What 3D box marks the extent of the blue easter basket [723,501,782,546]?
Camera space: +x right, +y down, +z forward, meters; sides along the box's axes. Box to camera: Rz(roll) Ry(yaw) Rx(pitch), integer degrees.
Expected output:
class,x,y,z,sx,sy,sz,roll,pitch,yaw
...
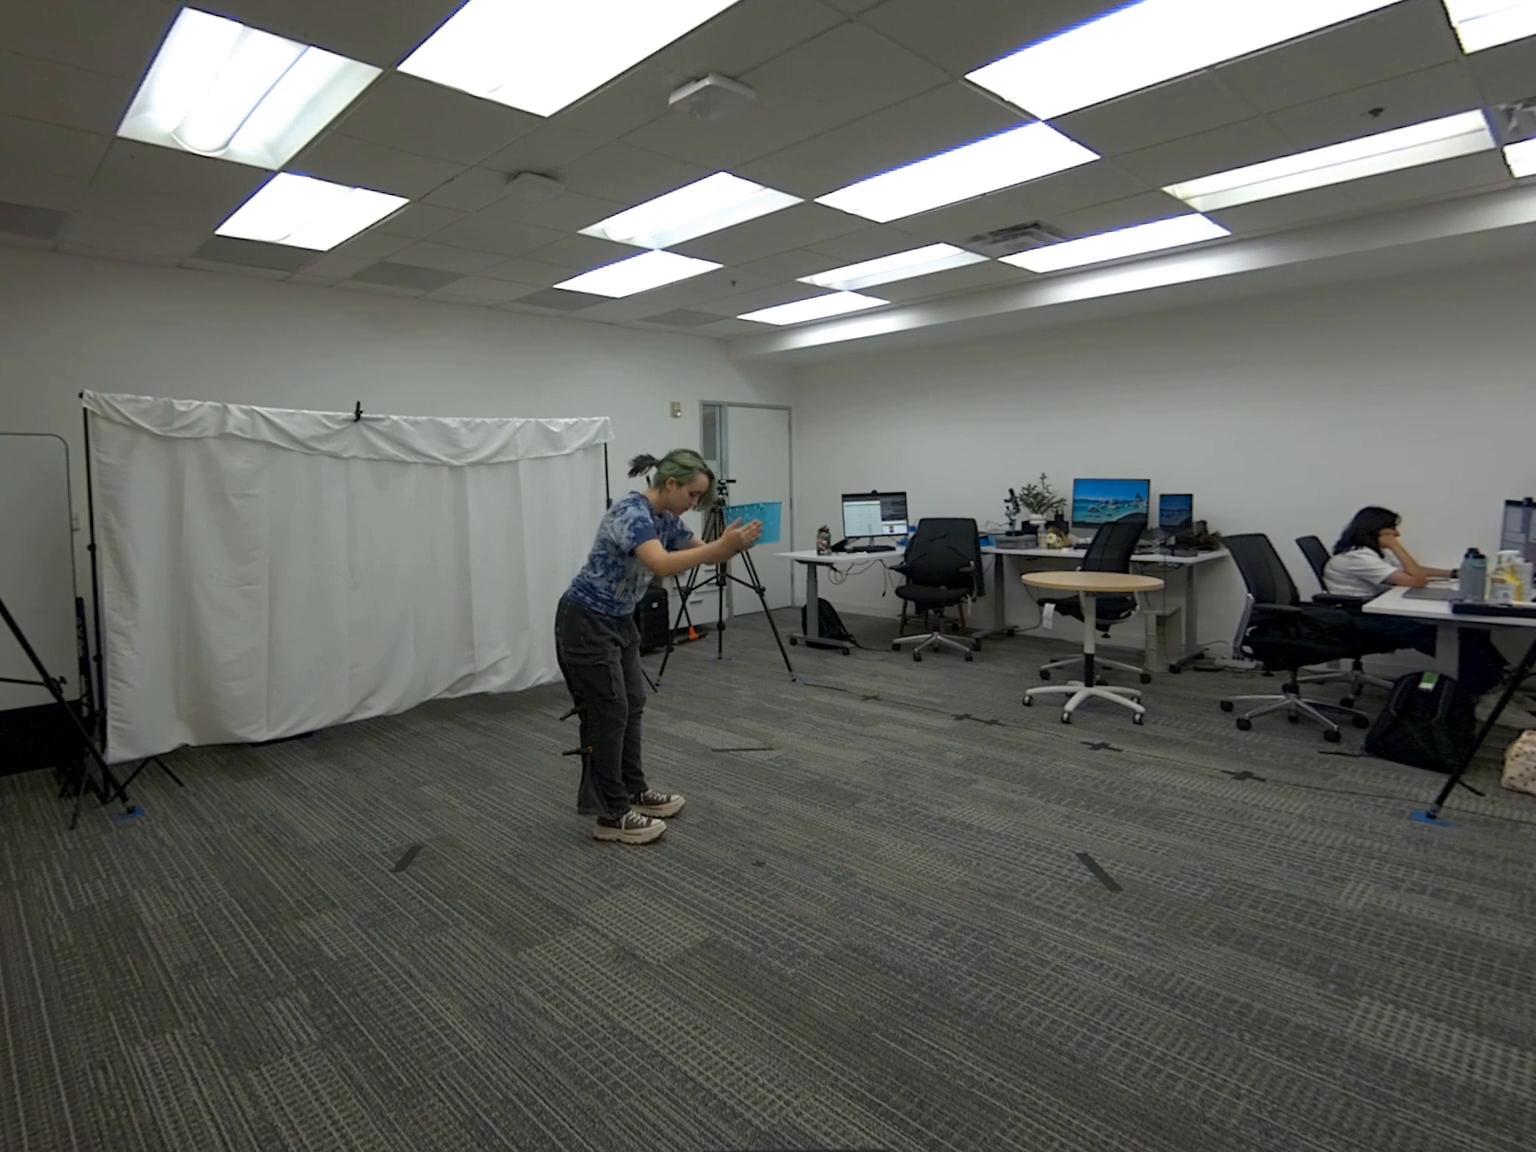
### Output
class,x,y,z,sx,sy,sz,roll,pitch,yaw
blue easter basket,-0.071,-0.187,3.238,0.243,0.155,0.244,-4,4,-1
